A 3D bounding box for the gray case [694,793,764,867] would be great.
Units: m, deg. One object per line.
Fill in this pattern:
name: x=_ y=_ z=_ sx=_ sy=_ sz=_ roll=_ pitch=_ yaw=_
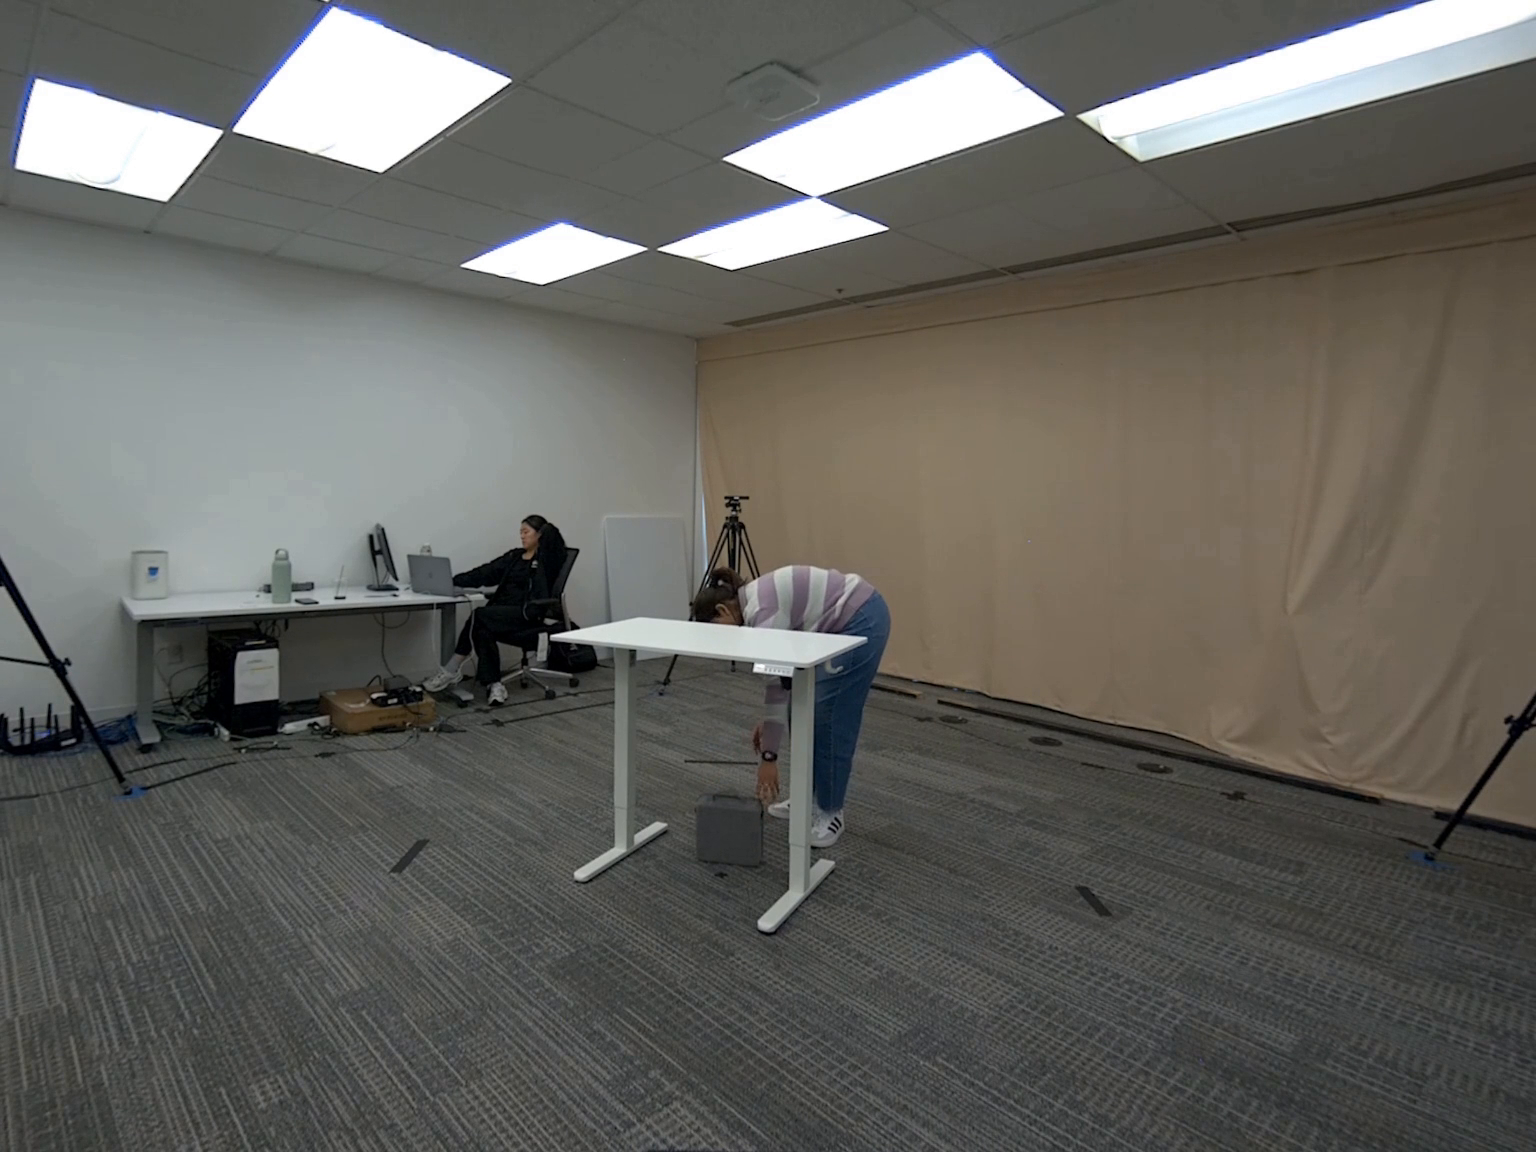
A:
gray case: x=-0.144 y=0.962 z=3.207 sx=0.259 sy=0.259 sz=0.104 roll=1 pitch=10 yaw=8
